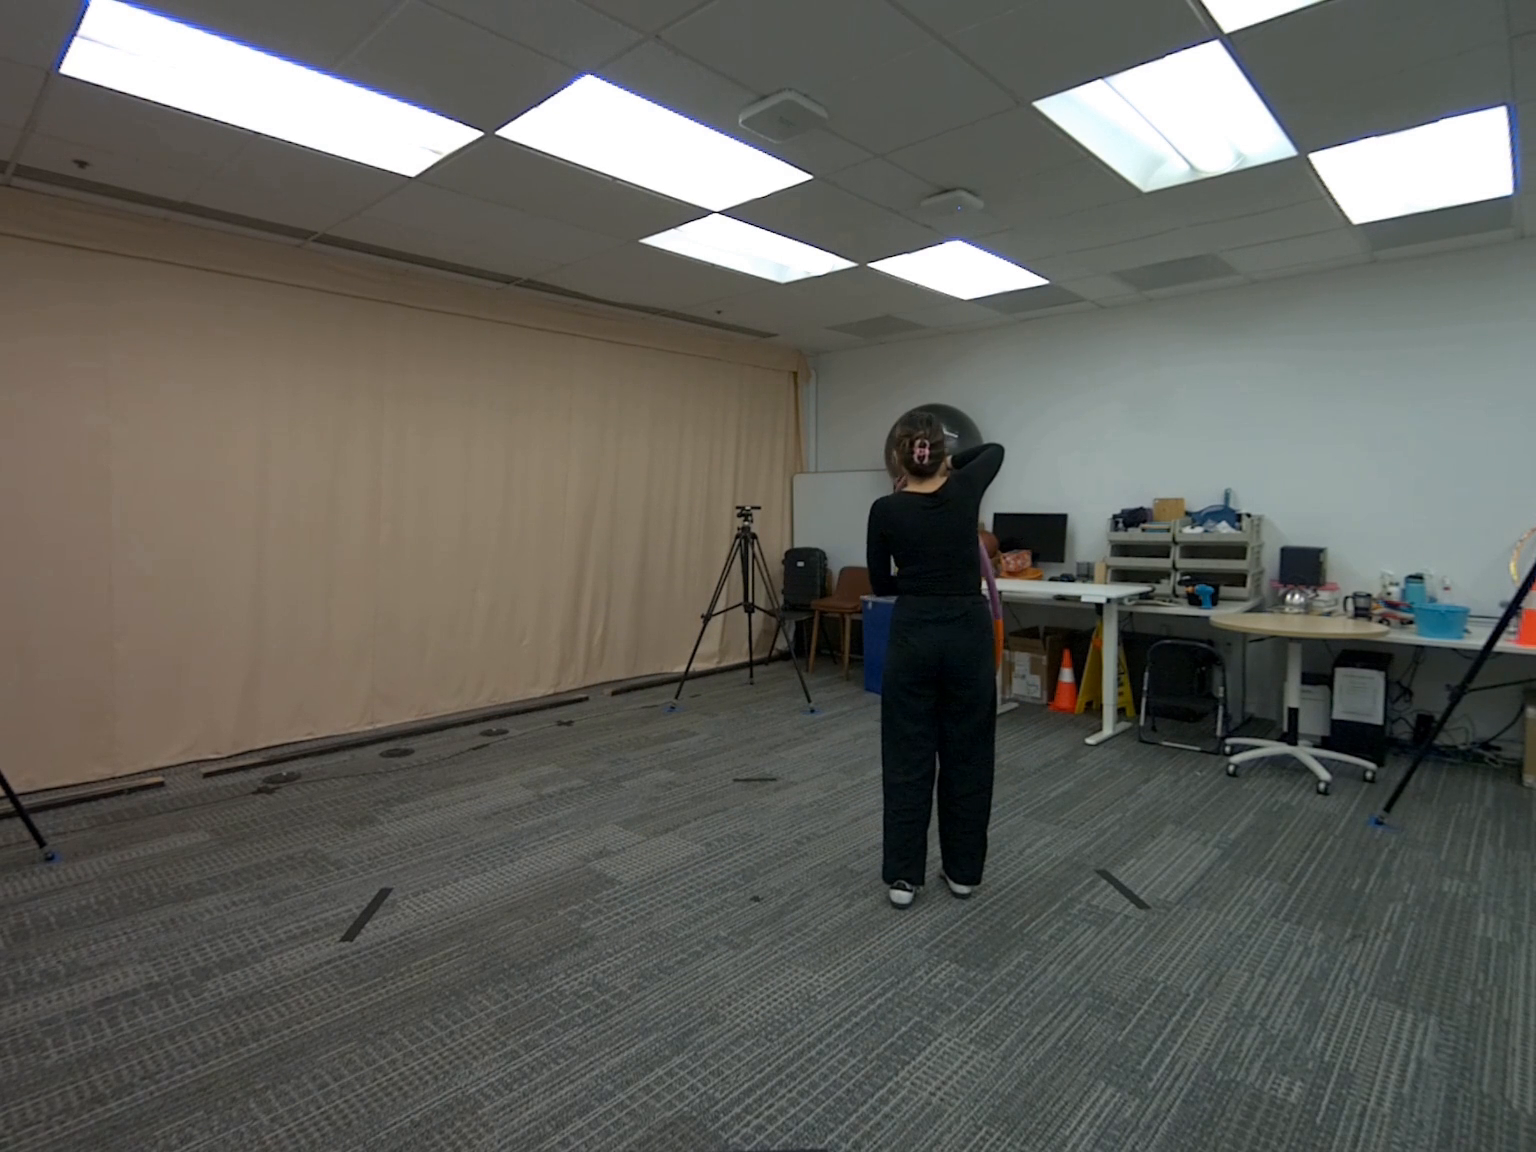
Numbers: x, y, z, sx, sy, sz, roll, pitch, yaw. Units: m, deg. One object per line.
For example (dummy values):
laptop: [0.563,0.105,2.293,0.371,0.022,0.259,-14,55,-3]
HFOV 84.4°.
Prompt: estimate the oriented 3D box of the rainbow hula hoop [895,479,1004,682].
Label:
rainbow hula hoop: [0.741,0.032,3.610,0.051,0.981,0.998,-14,6,-10]
